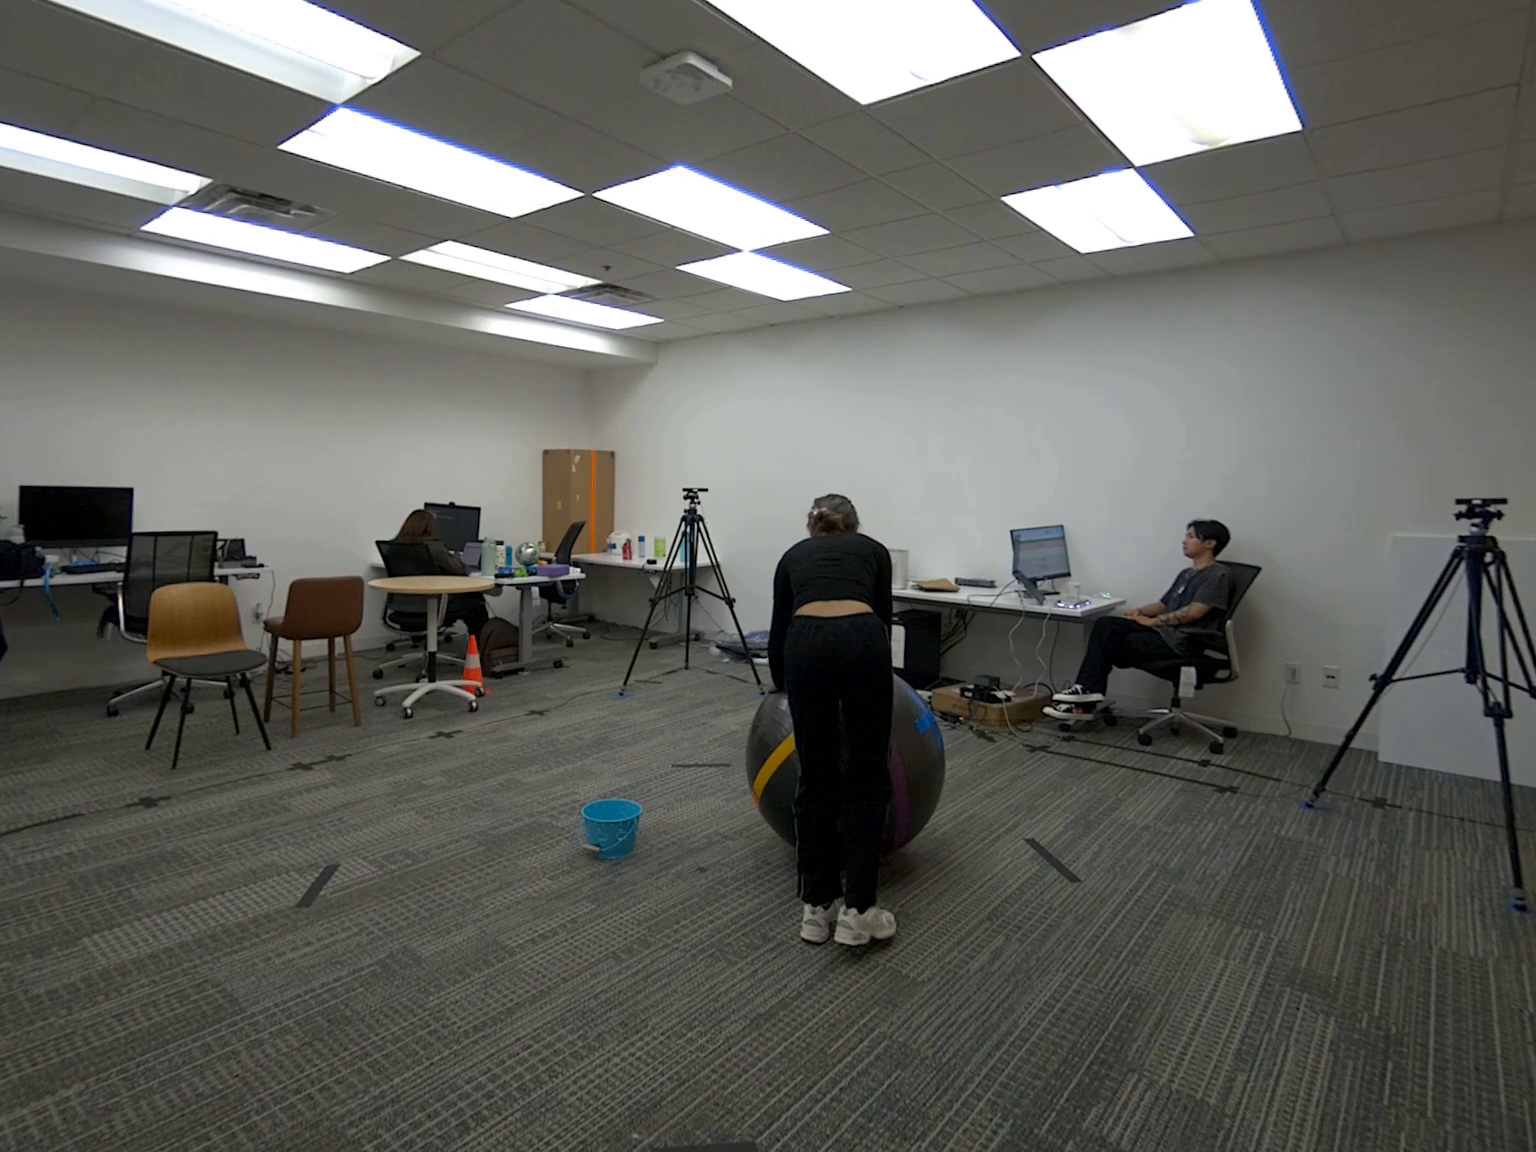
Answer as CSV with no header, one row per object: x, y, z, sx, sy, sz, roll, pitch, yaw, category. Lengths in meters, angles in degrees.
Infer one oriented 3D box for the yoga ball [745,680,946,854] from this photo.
0.284,0.697,3.268,0.757,0.755,0.762,1,4,-2,yoga ball
